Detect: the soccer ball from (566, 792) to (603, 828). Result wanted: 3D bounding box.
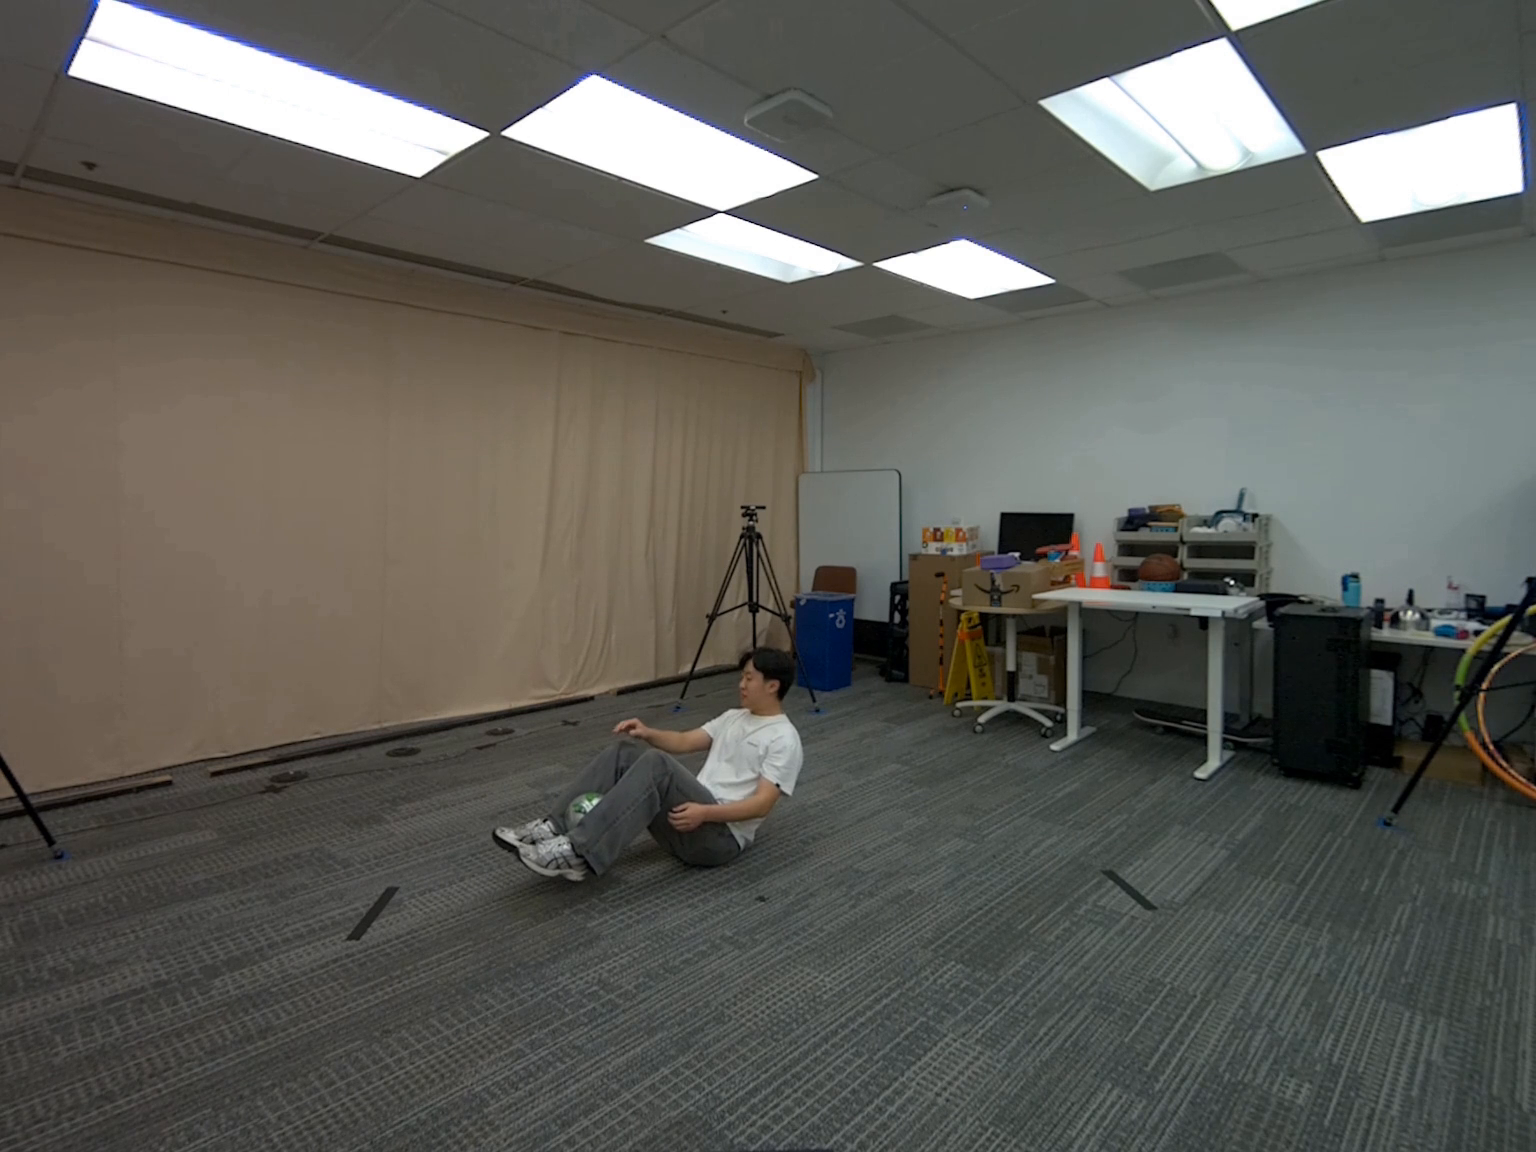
[{"bbox_3d":[-0.648,0.891,3.119,0.187,0.187,0.188,0,4,-2],"label":"soccer ball"}]
